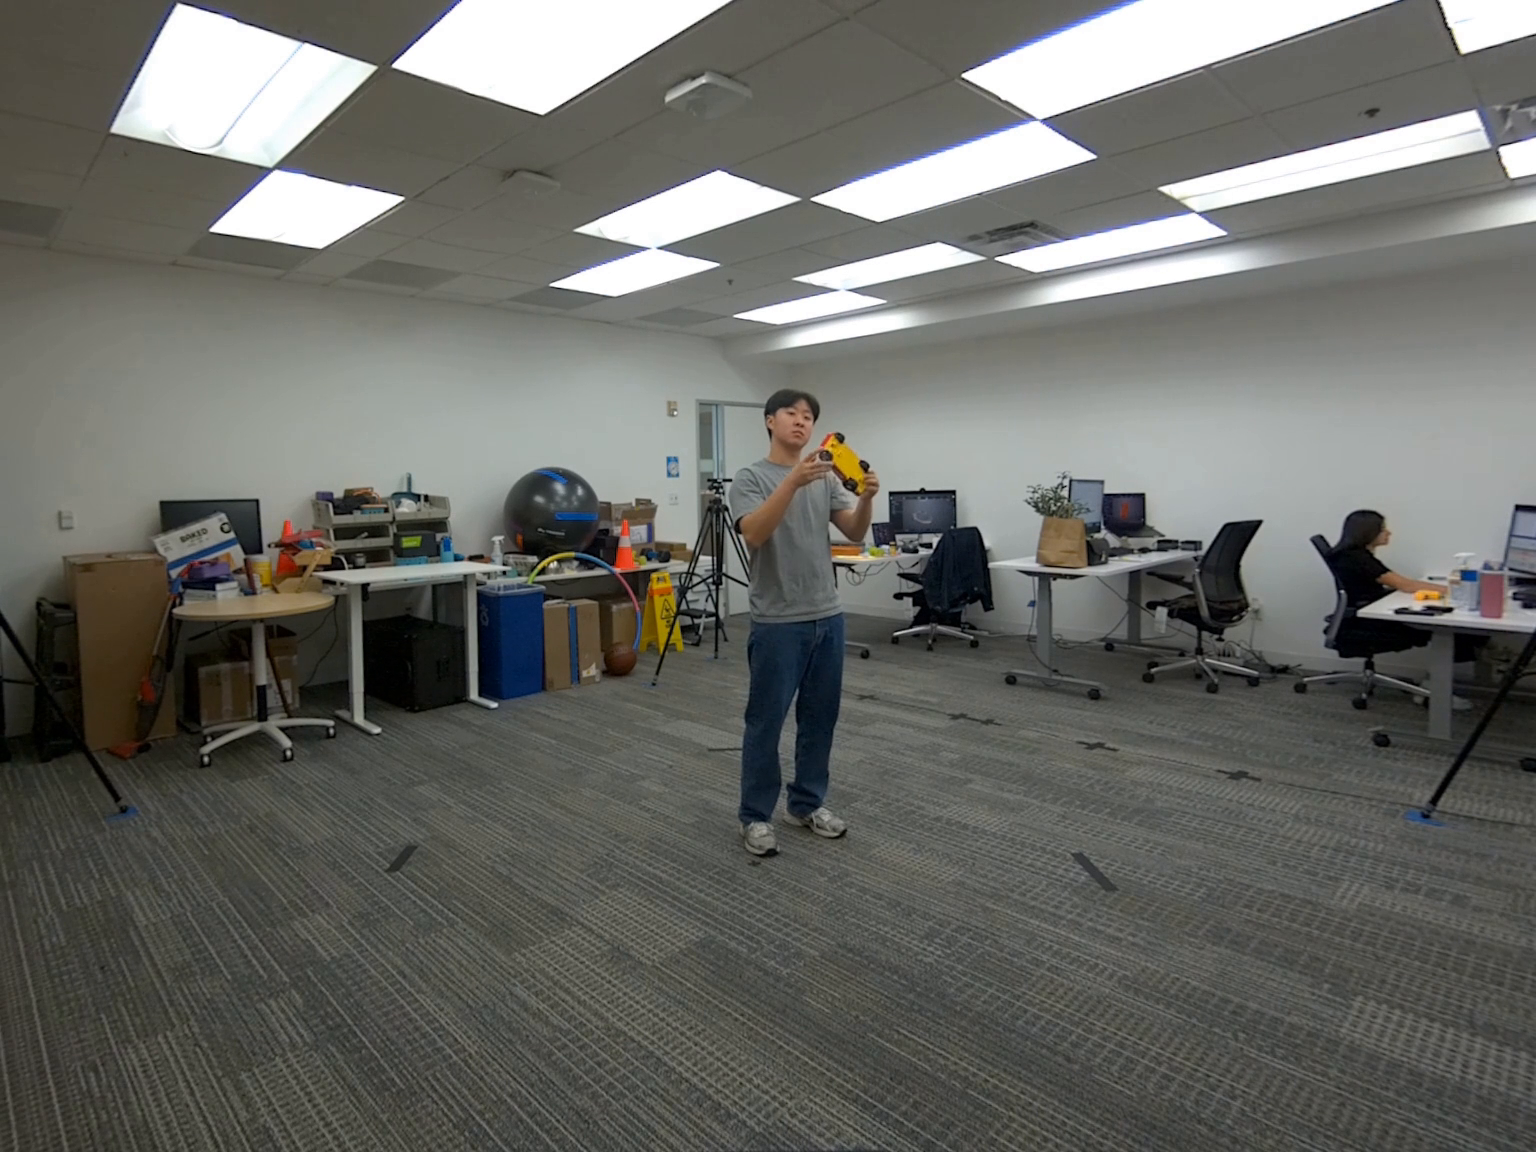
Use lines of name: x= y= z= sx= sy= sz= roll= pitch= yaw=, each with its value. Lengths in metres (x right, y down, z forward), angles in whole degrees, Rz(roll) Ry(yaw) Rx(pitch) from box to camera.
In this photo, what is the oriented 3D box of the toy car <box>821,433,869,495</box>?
toy car: x=0.277 y=-0.390 z=3.021 sx=0.086 sy=0.131 sz=0.245 roll=10 pitch=-34 yaw=47
